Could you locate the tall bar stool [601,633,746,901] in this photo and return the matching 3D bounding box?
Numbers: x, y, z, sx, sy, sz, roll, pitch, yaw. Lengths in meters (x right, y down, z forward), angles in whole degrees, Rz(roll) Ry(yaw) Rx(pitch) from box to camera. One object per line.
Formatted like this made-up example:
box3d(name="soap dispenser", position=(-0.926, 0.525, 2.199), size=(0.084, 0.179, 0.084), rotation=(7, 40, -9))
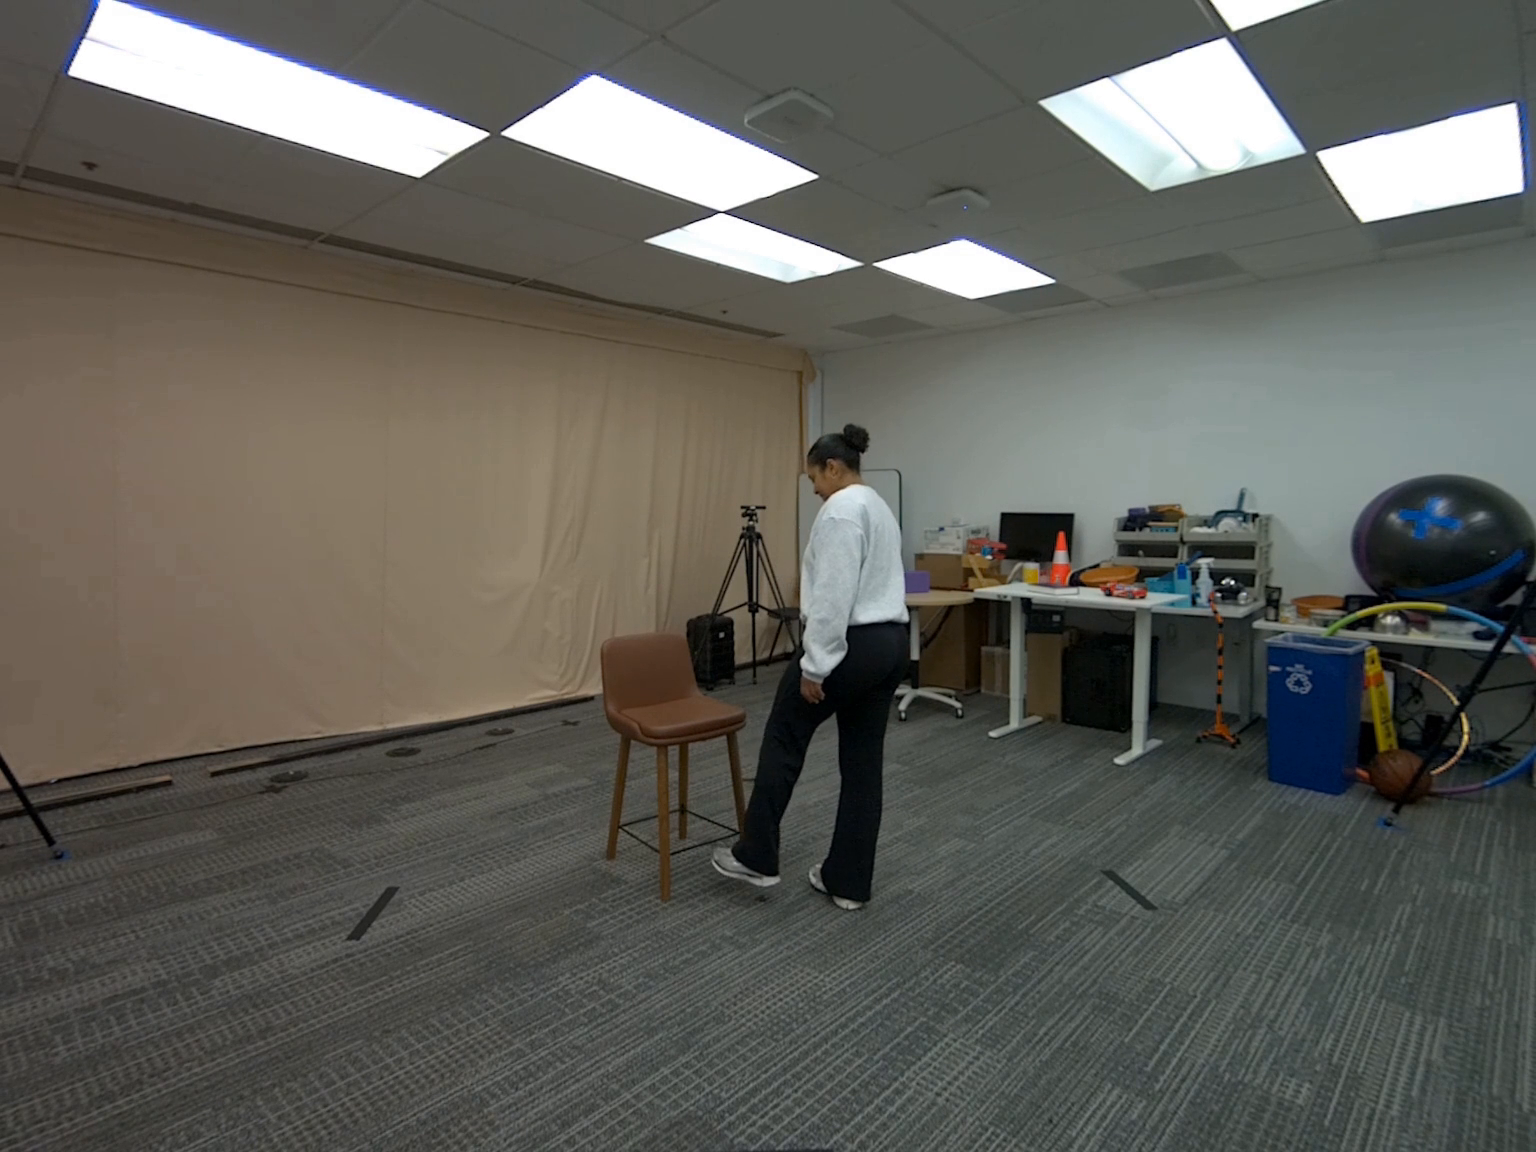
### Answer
box3d(name="tall bar stool", position=(-0.362, 0.688, 3.252), size=(0.443, 0.889, 0.482), rotation=(-3, 2, -39))
